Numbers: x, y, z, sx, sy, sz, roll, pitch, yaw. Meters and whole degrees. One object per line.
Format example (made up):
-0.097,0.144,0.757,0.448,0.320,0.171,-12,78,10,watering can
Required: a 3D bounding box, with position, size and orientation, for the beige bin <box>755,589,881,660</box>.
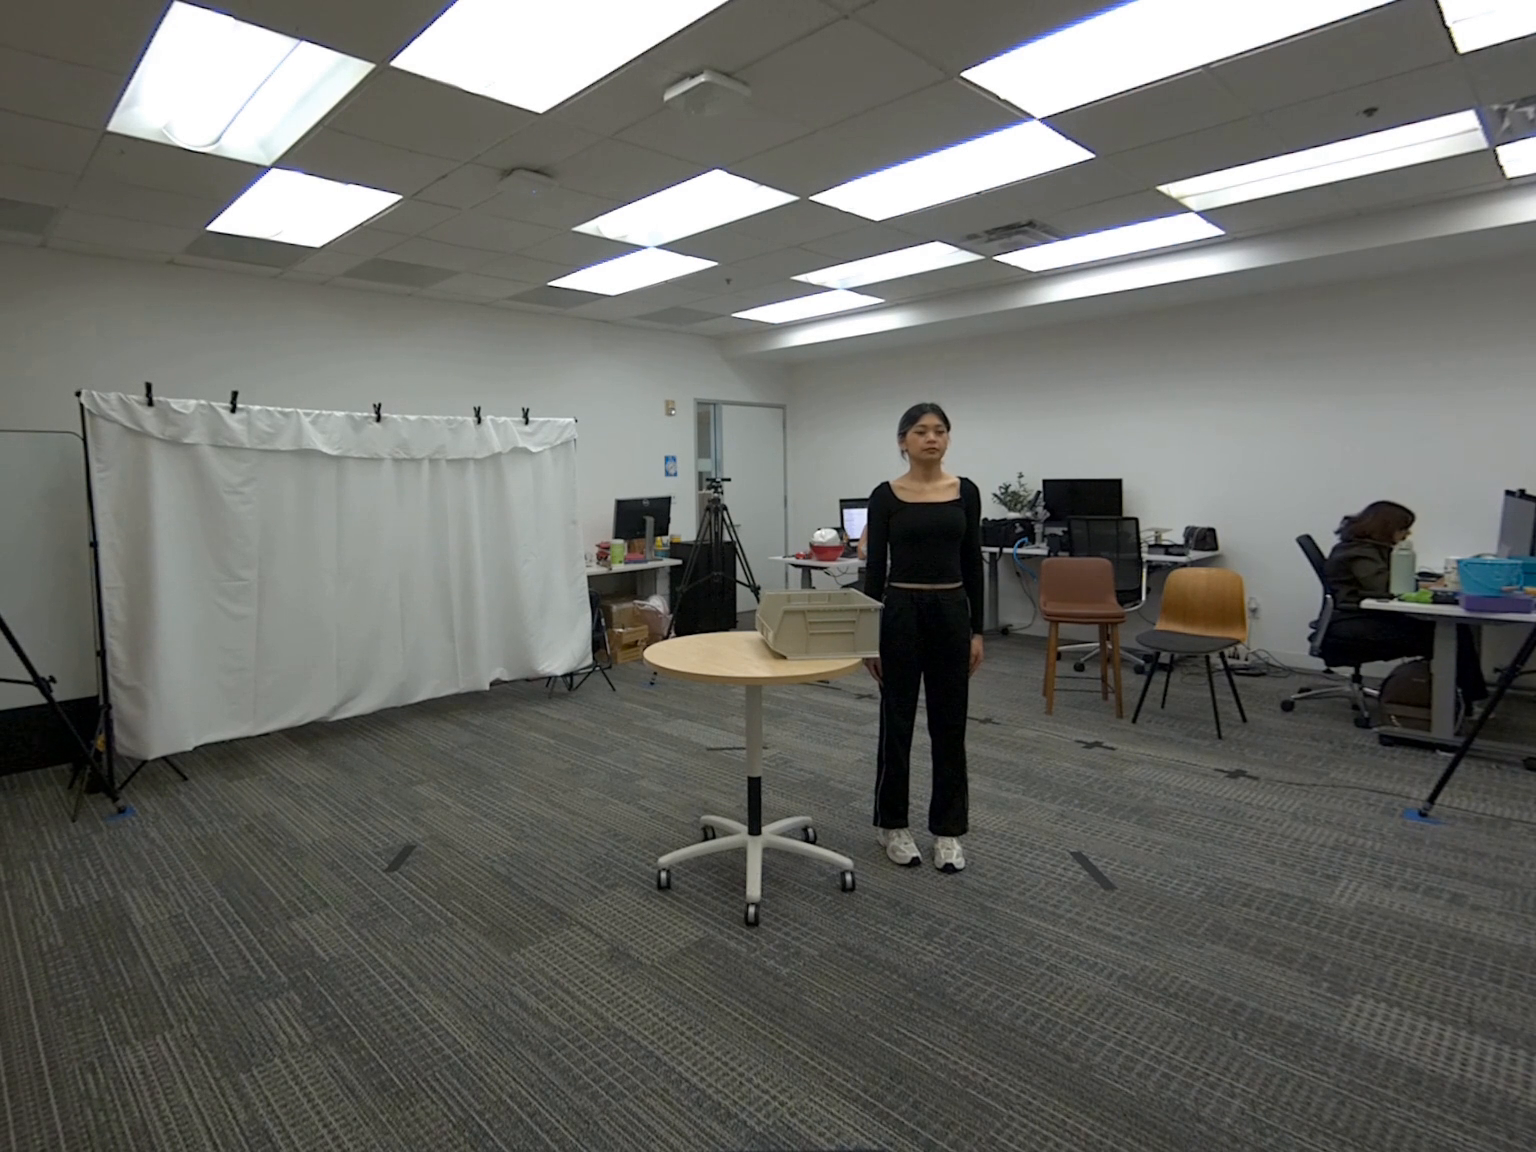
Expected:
0.168,0.166,3.038,0.375,0.188,0.426,-1,6,-6,beige bin
